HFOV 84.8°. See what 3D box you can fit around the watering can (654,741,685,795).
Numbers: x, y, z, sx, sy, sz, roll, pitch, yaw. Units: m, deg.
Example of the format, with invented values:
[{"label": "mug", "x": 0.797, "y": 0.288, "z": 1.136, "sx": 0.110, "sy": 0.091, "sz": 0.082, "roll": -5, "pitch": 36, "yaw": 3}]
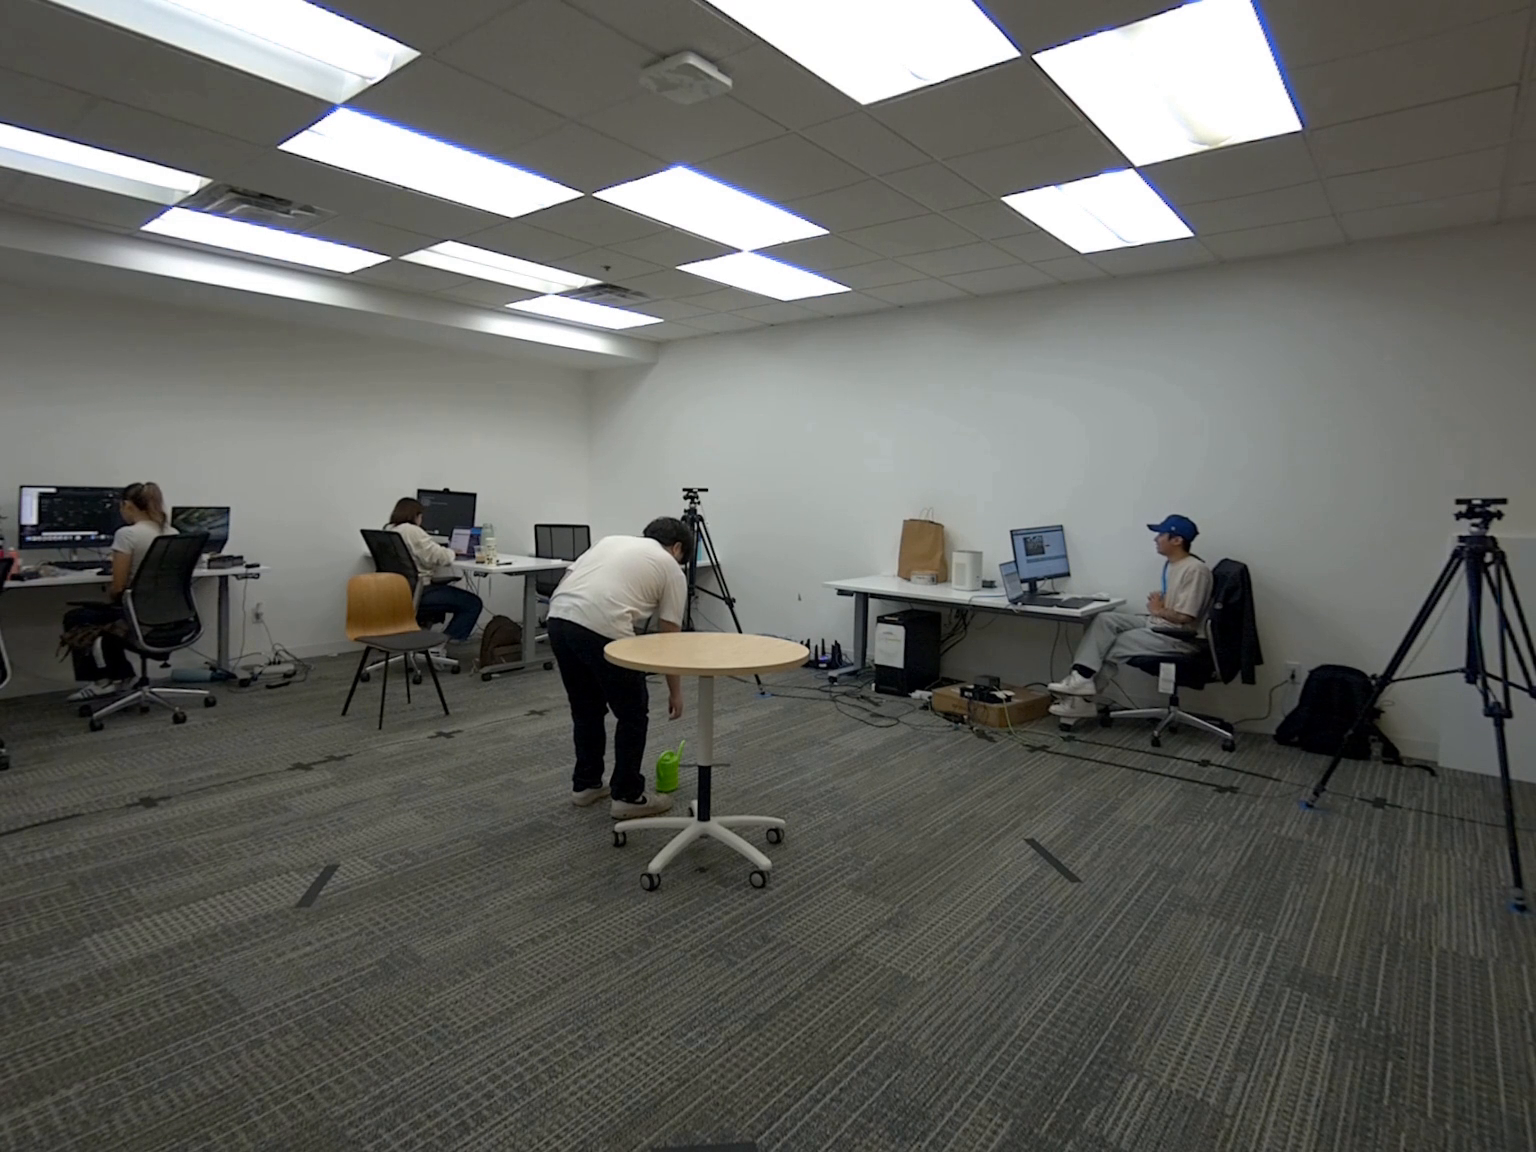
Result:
[{"label": "watering can", "x": -0.459, "y": 0.896, "z": 4.003, "sx": 0.101, "sy": 0.176, "sz": 0.271, "roll": 3, "pitch": 7, "yaw": 32}]
